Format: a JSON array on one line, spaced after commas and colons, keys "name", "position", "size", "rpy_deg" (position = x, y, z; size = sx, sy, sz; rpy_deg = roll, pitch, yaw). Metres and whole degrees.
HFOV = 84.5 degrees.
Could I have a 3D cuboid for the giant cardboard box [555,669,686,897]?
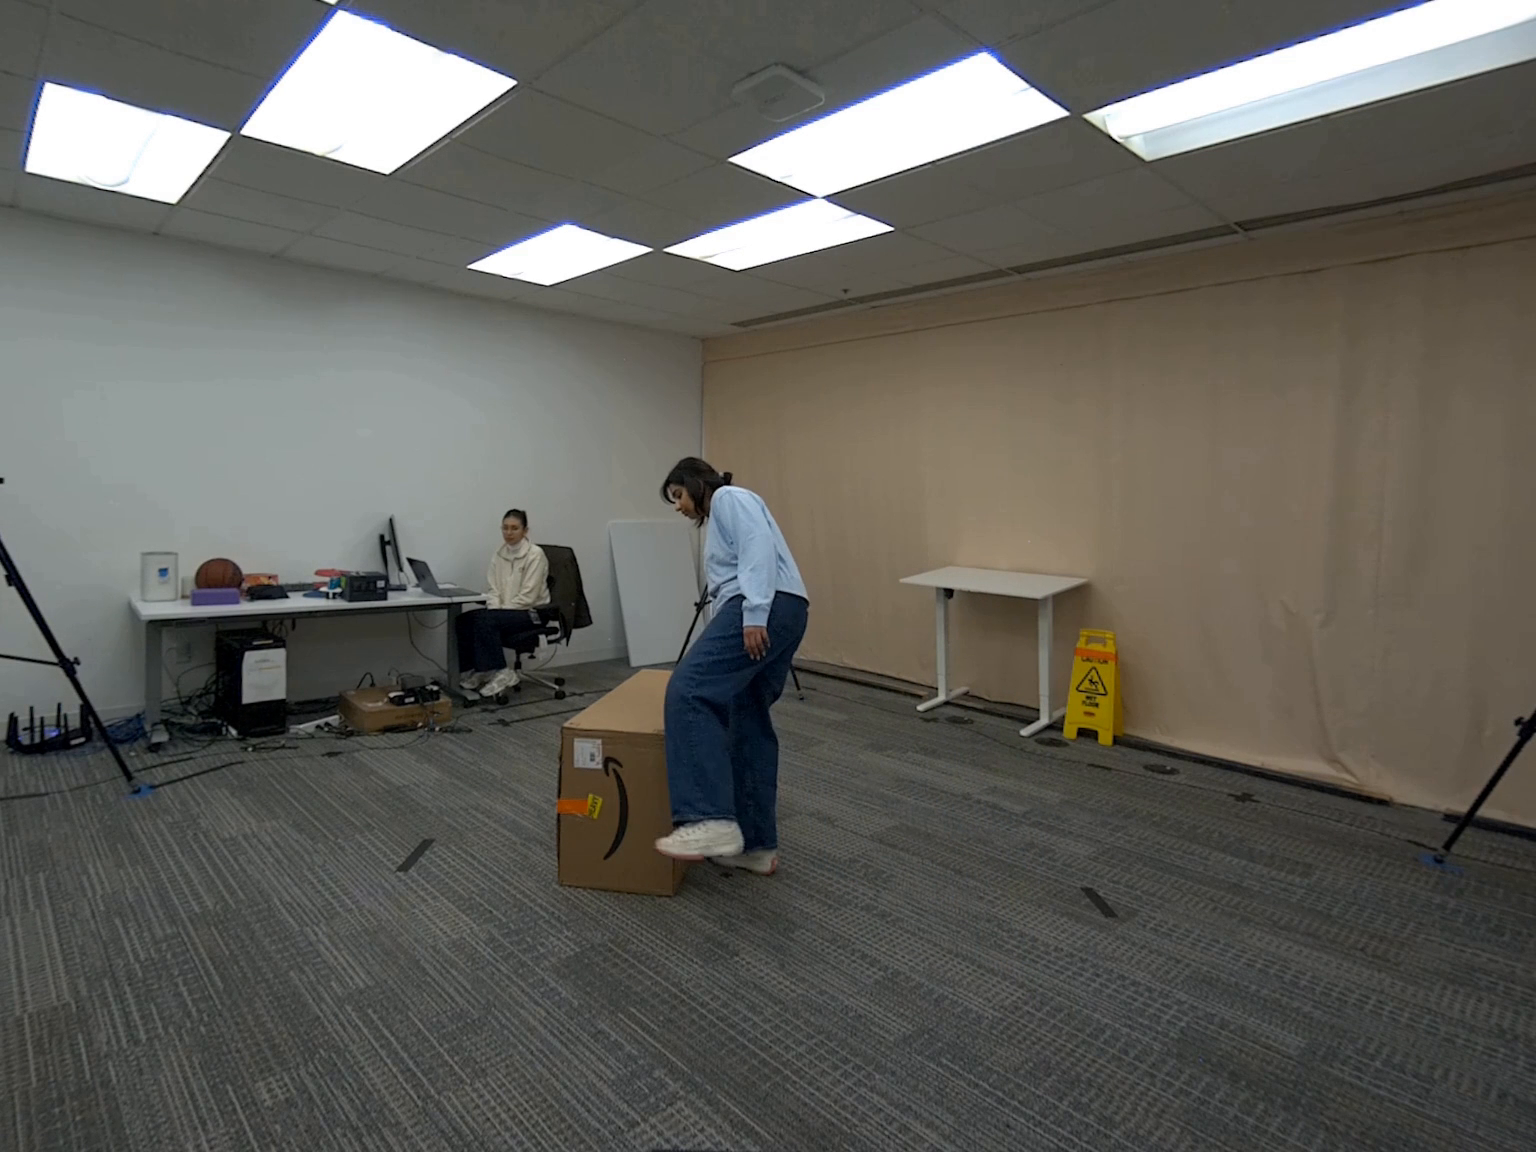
[{"name": "giant cardboard box", "position": [-0.473, 0.773, 3.448], "size": [0.429, 0.576, 1.021], "rpy_deg": [2, 5, 8]}]
